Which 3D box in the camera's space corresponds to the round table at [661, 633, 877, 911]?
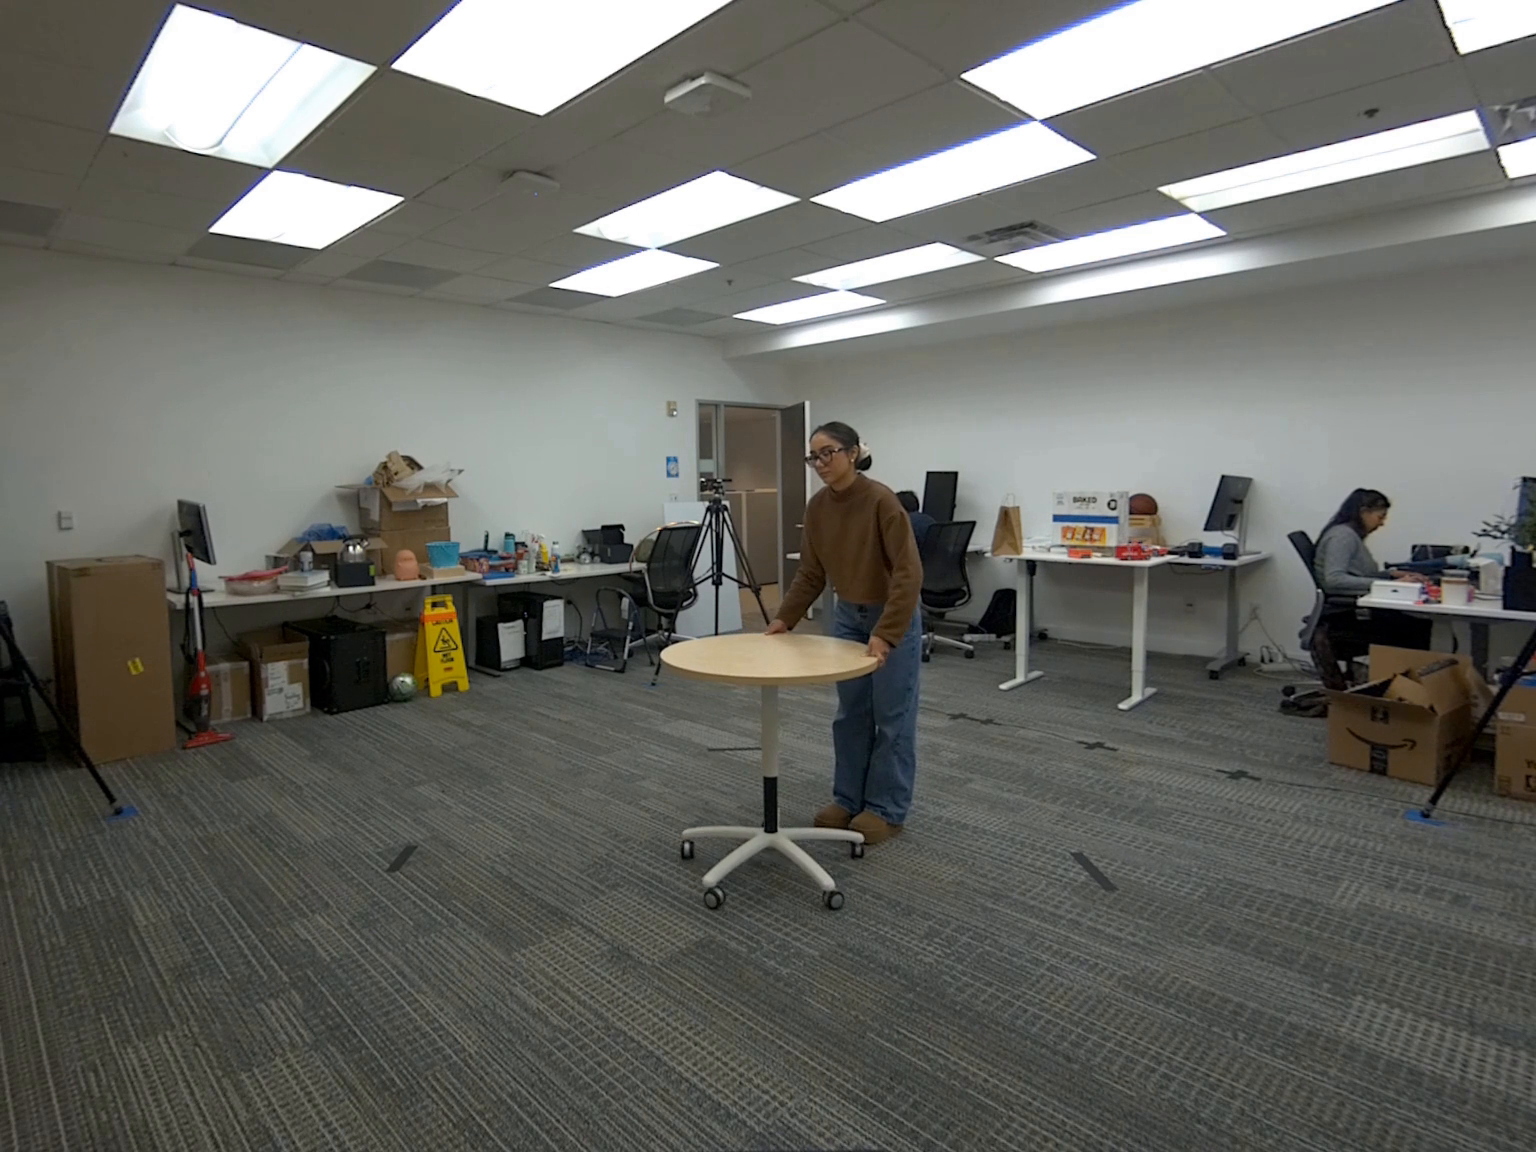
[{"bbox_3d":[0.007,0.664,3.025,0.763,0.791,0.768,-1,5,-2],"label":"round table"}]
